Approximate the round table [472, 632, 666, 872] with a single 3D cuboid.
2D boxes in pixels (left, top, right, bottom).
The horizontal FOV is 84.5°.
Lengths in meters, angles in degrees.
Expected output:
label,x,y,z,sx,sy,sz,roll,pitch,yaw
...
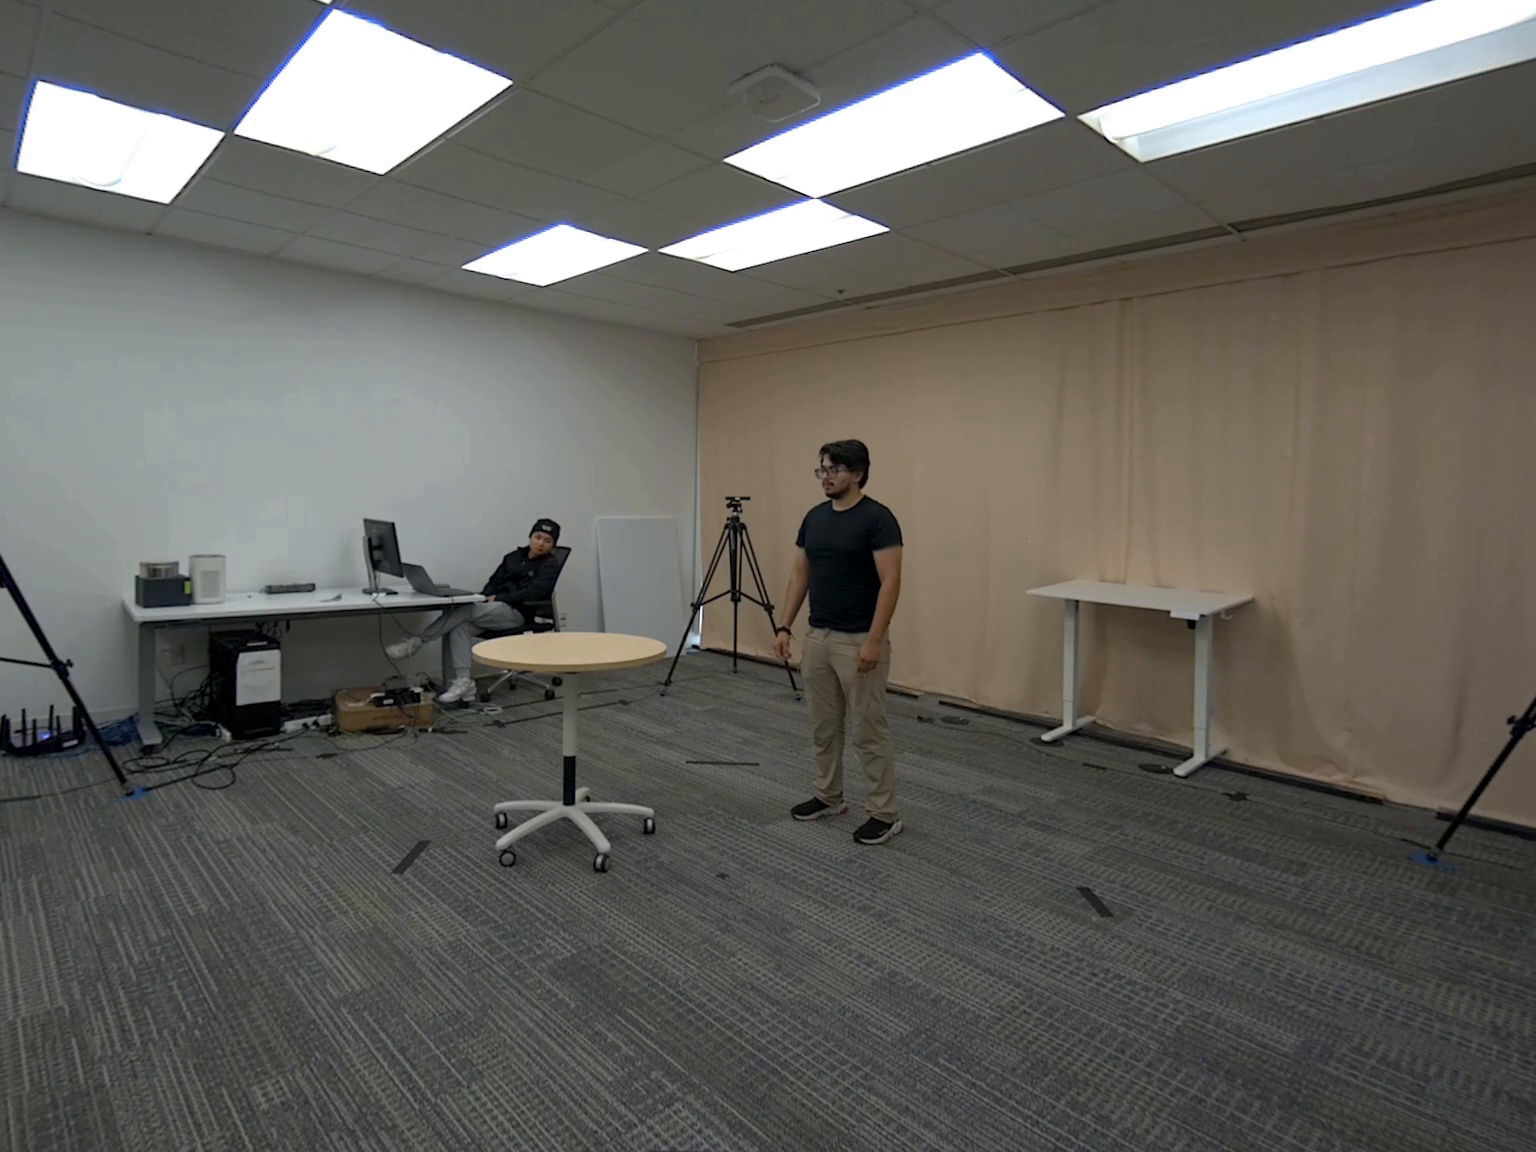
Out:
label,x,y,z,sx,sy,sz,roll,pitch,yaw
round table,-0.817,0.674,3.404,0.784,0.785,0.787,1,4,-1
